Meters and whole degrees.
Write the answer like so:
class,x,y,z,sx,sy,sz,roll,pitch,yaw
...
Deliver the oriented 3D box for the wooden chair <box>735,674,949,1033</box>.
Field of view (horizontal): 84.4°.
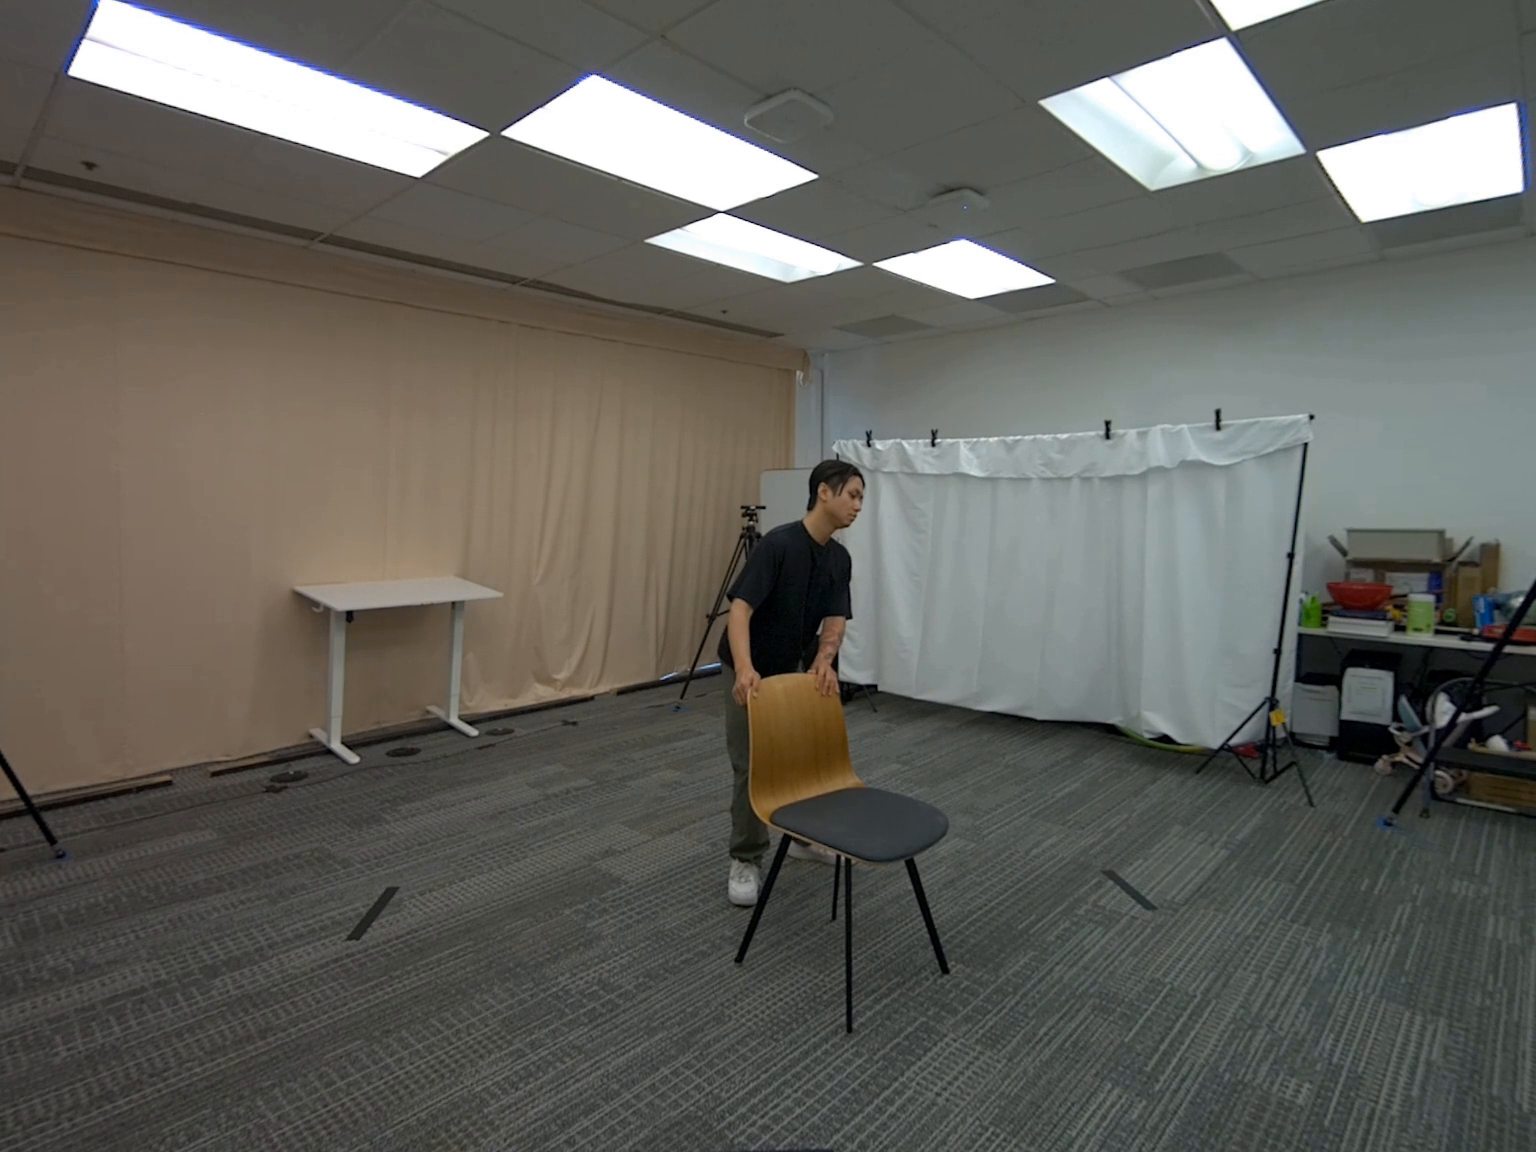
class,x,y,z,sx,sy,sz,roll,pitch,yaw
wooden chair,0.237,0.751,2.496,0.463,0.878,0.539,-2,-1,-43
